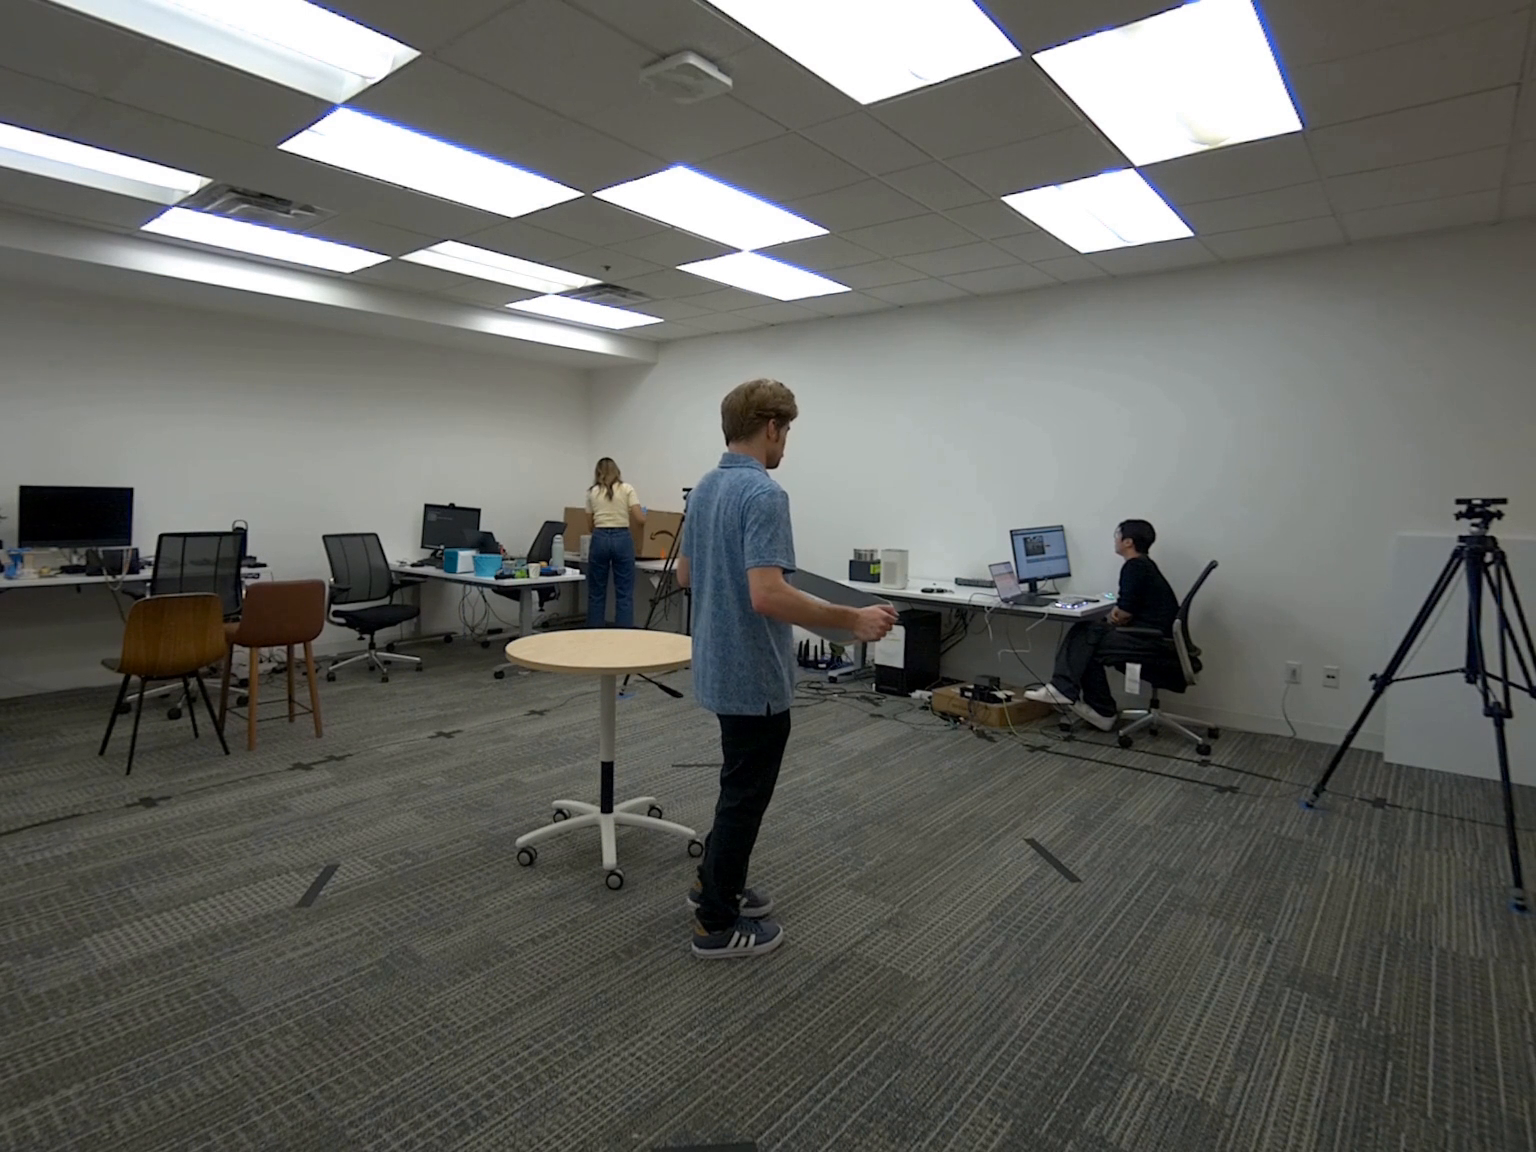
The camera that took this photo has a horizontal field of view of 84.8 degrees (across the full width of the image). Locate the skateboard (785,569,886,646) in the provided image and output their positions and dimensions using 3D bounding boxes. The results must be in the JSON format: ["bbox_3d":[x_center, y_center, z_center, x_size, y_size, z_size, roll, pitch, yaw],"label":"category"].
[{"bbox_3d":[0.136,0.100,2.666,0.193,0.107,0.810,-40,24,-13],"label":"skateboard"}]
